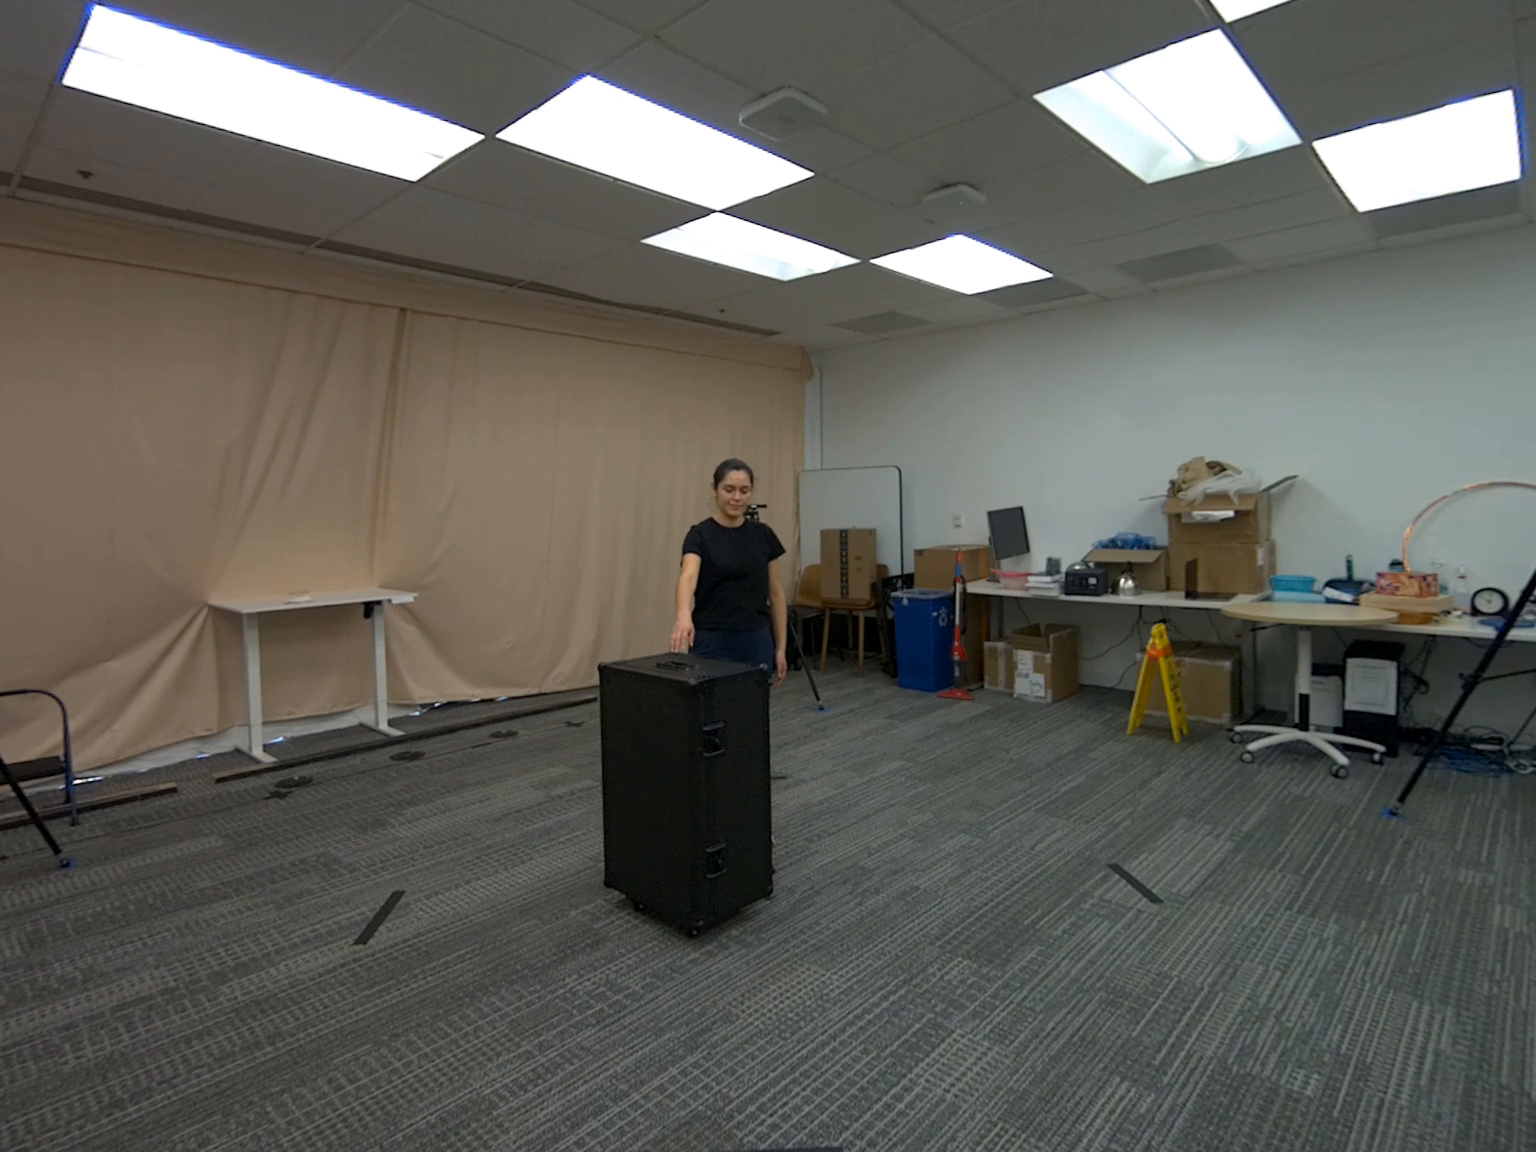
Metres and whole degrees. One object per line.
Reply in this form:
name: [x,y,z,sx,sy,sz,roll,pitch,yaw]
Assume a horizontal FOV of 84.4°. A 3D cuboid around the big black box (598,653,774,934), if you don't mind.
big black box: [-0.275,0.725,2.900,0.538,0.860,0.384,2,3,43]
